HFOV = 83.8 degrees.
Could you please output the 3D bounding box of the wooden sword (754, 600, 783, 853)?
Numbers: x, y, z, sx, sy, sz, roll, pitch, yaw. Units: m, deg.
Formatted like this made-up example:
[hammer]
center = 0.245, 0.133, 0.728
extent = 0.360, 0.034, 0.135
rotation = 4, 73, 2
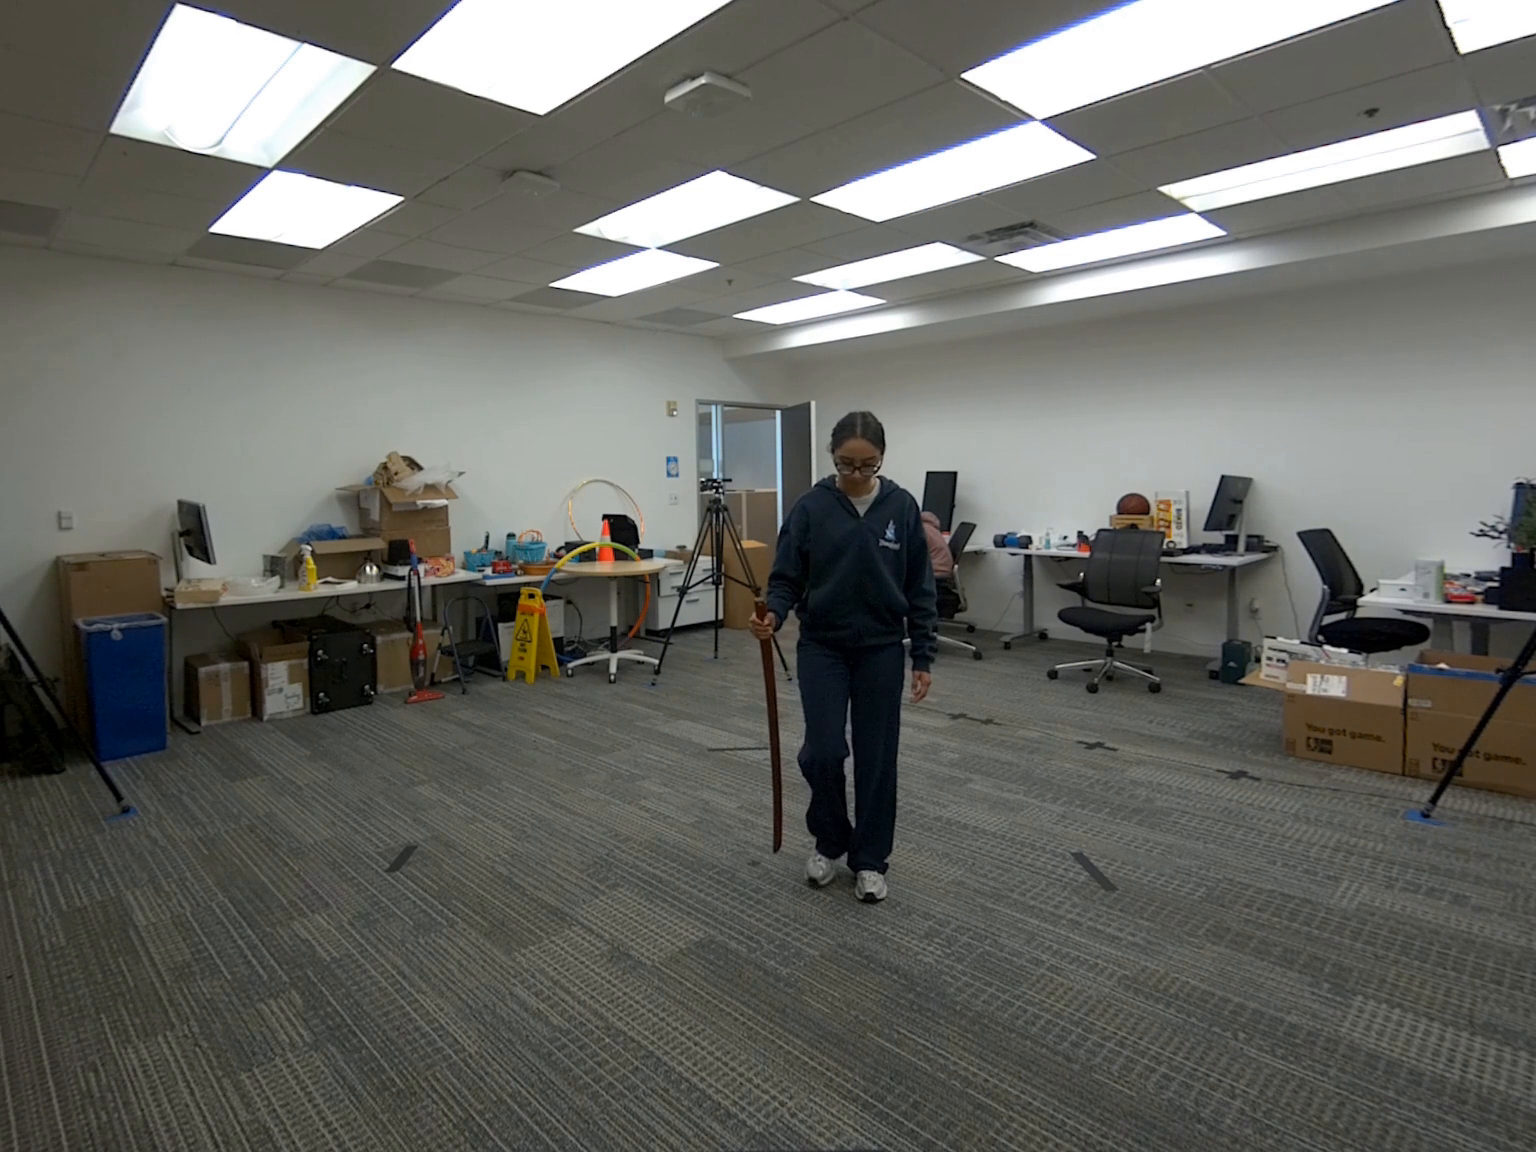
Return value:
[wooden sword]
center = 0.006, 0.541, 2.837
extent = 0.050, 1.003, 0.025
rotation = -12, 25, -18
